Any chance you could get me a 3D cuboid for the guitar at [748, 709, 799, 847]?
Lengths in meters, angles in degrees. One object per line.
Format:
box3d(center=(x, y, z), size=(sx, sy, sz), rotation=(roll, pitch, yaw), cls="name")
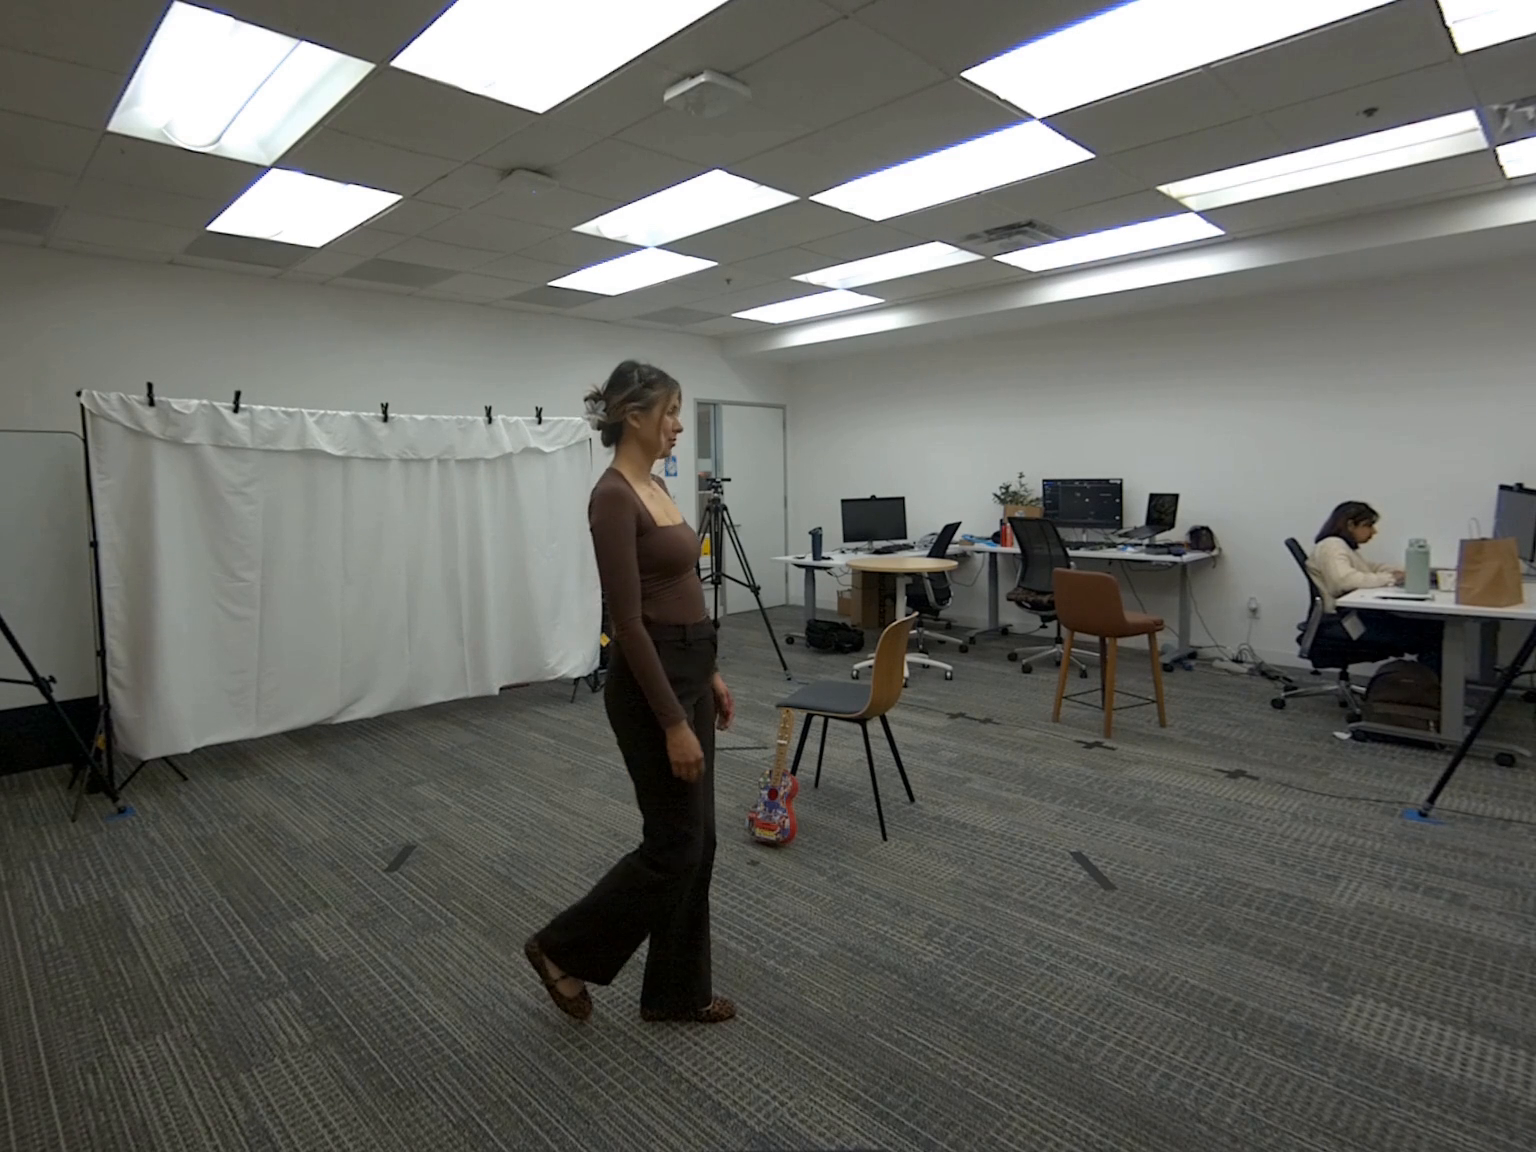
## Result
box3d(center=(0.067, 0.787, 3.312), size=(0.199, 0.502, 0.068), rotation=(8, -18, 32), cls="guitar")
